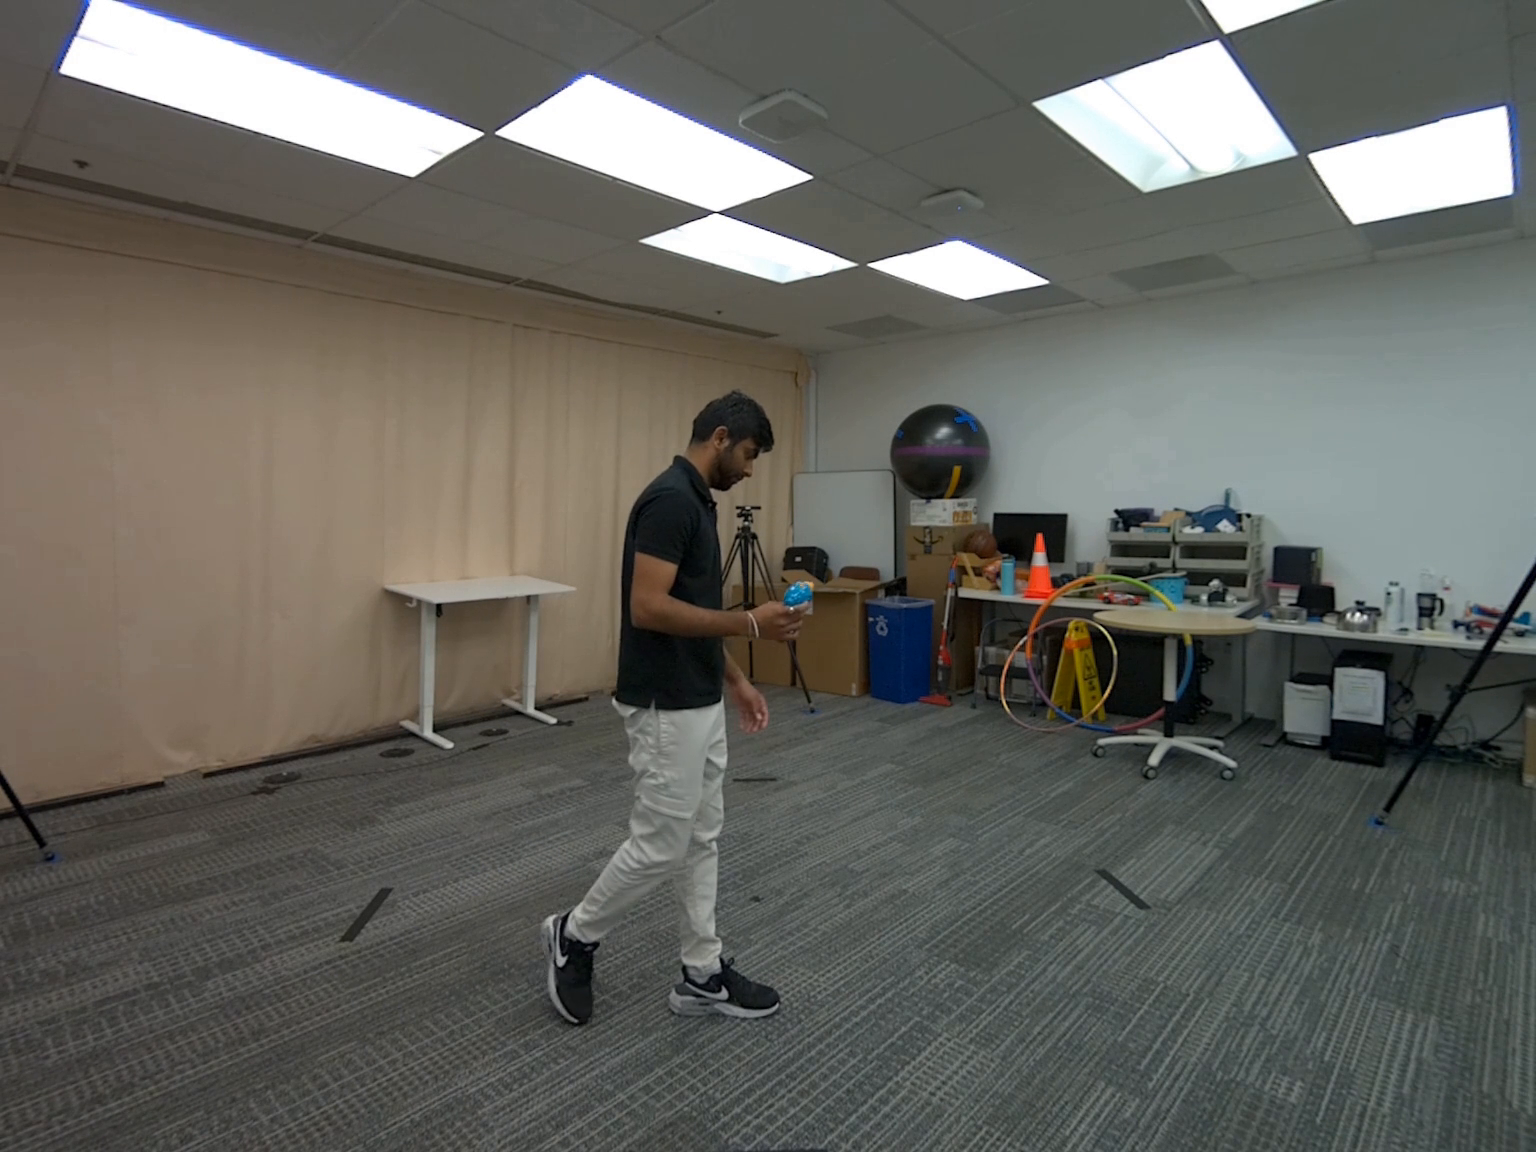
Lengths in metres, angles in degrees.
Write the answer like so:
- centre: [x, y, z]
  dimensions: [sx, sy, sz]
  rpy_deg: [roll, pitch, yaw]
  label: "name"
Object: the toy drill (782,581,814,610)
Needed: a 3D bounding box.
- centre: [0.033, 0.074, 2.089]
  dimensions: [0.061, 0.147, 0.169]
  rpy_deg: [43, 16, -1]
  label: "toy drill"
